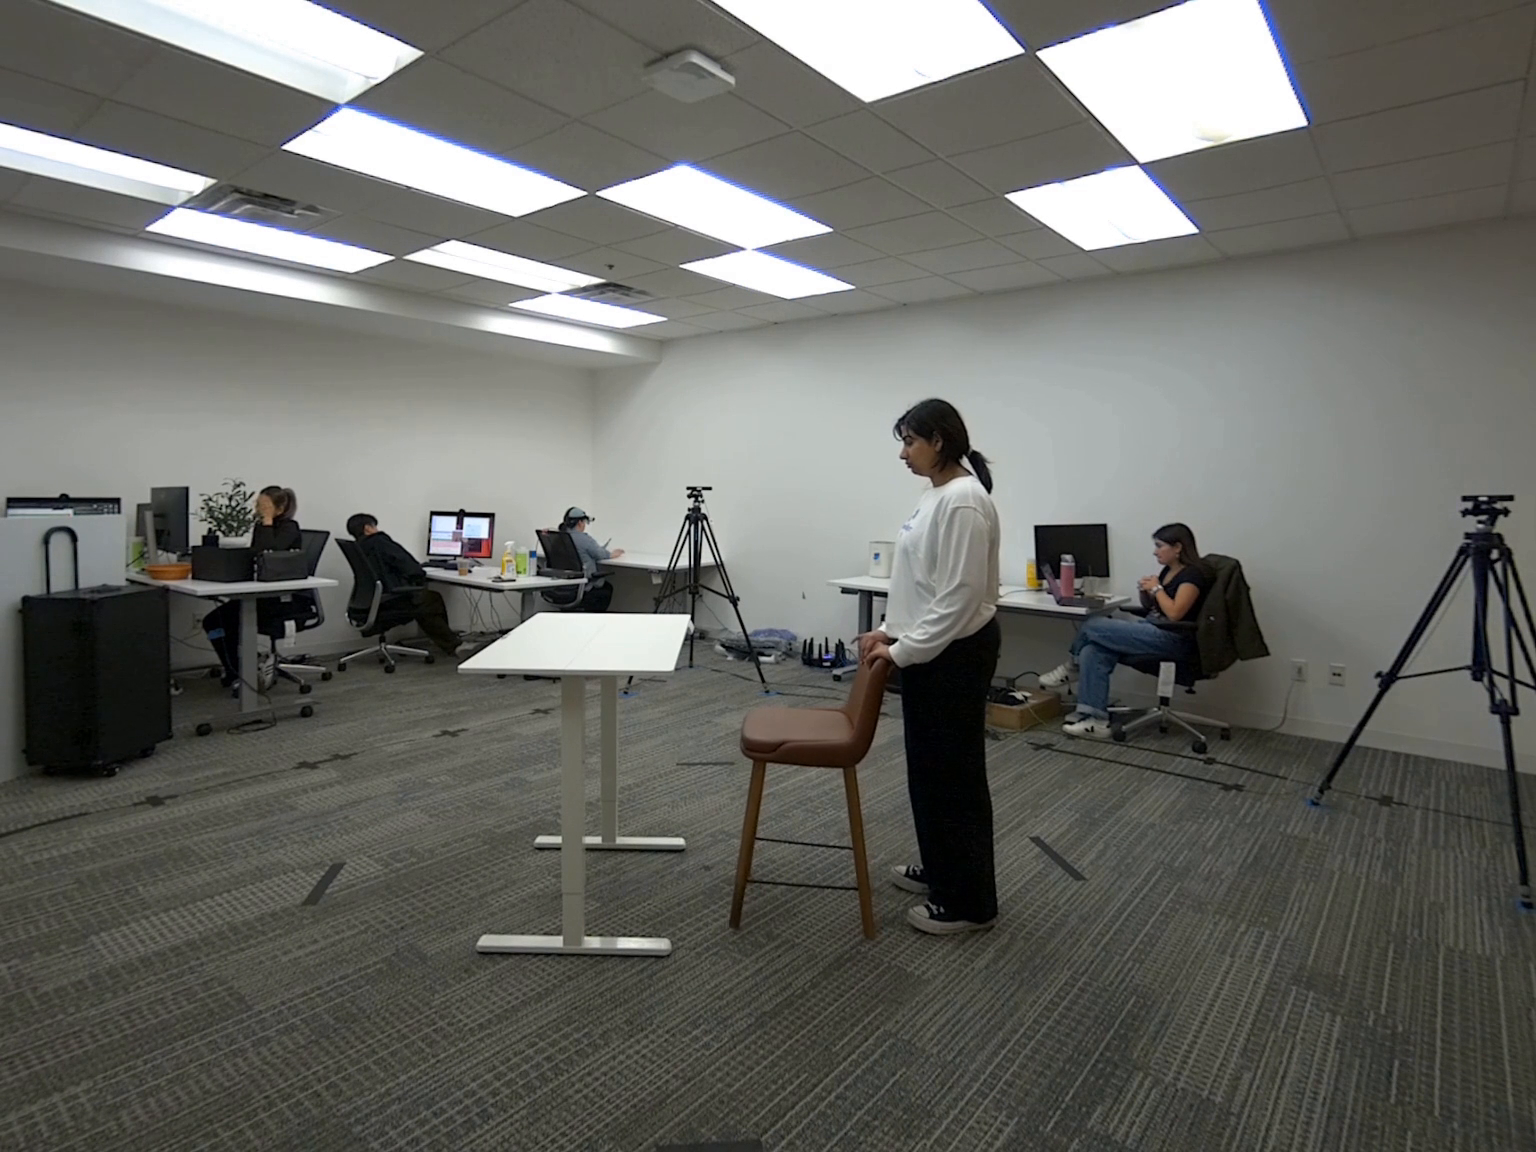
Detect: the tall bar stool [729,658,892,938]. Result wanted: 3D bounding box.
[{"bbox_3d":[0.135,0.663,2.835,0.472,0.887,0.454,5,3,6],"label":"tall bar stool"}]
